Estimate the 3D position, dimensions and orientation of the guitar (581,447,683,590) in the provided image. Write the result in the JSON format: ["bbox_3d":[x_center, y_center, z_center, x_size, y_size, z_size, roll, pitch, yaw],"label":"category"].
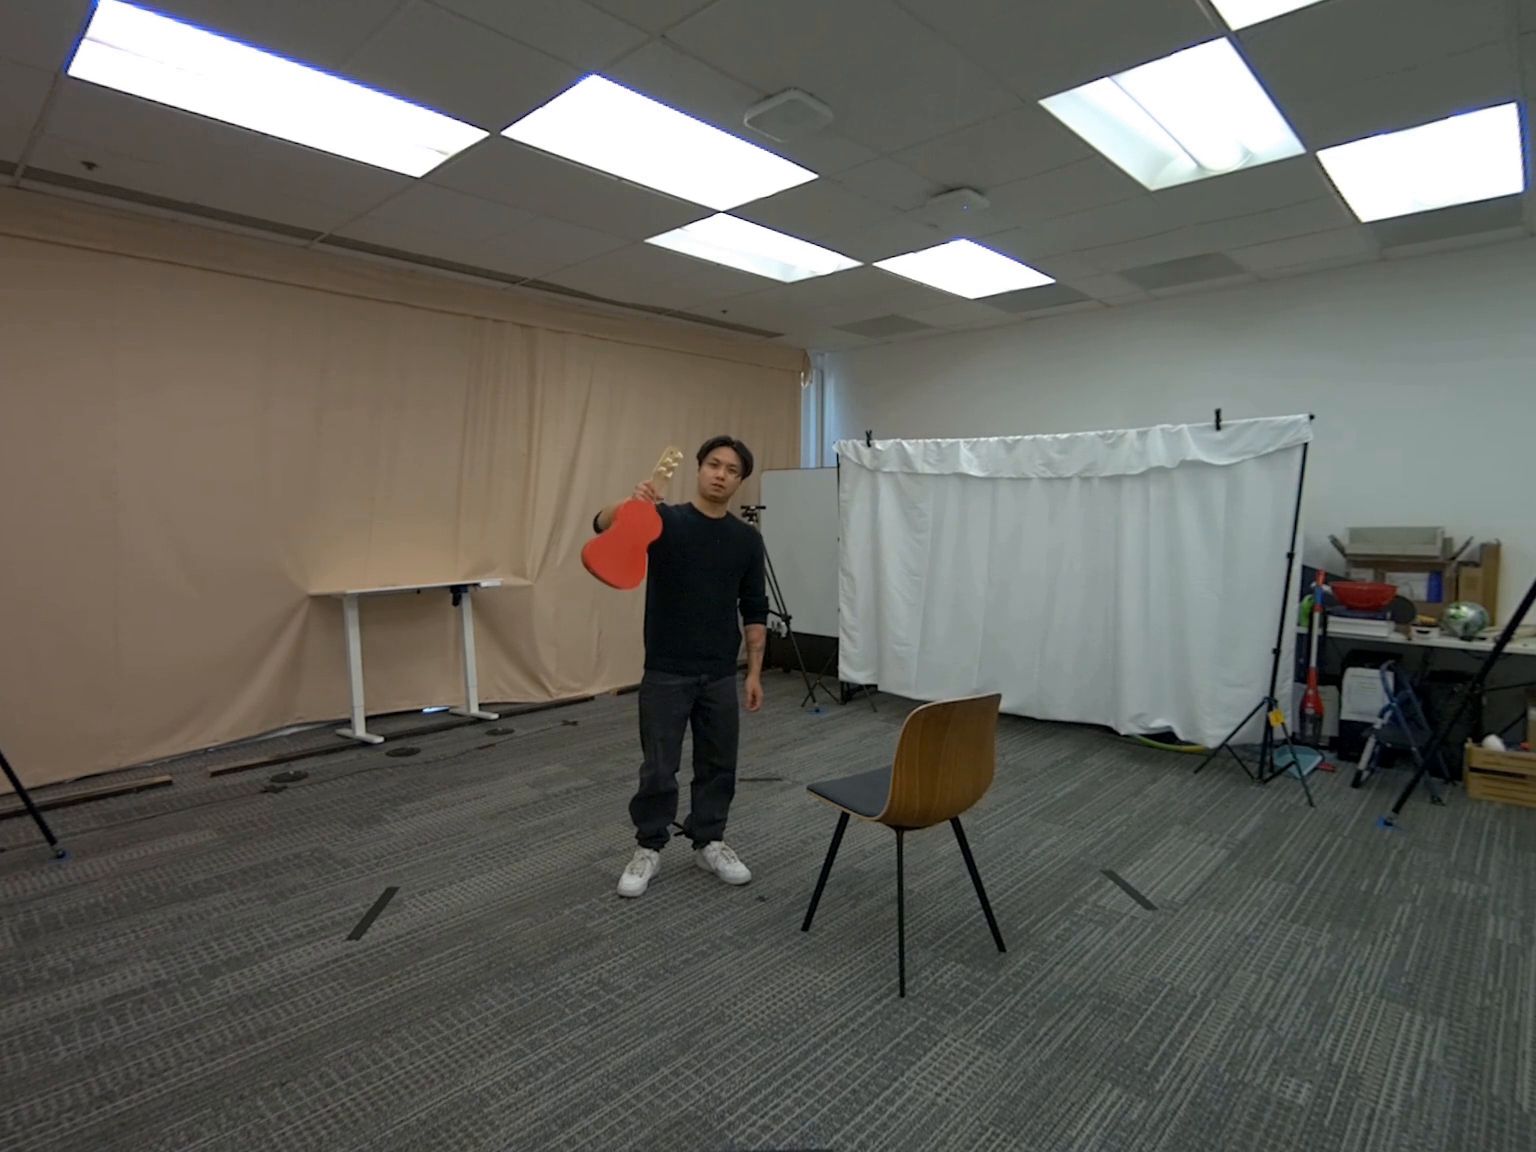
[{"bbox_3d":[-0.401,-0.199,2.567,0.188,0.499,0.072,25,-17,-22],"label":"guitar"}]
